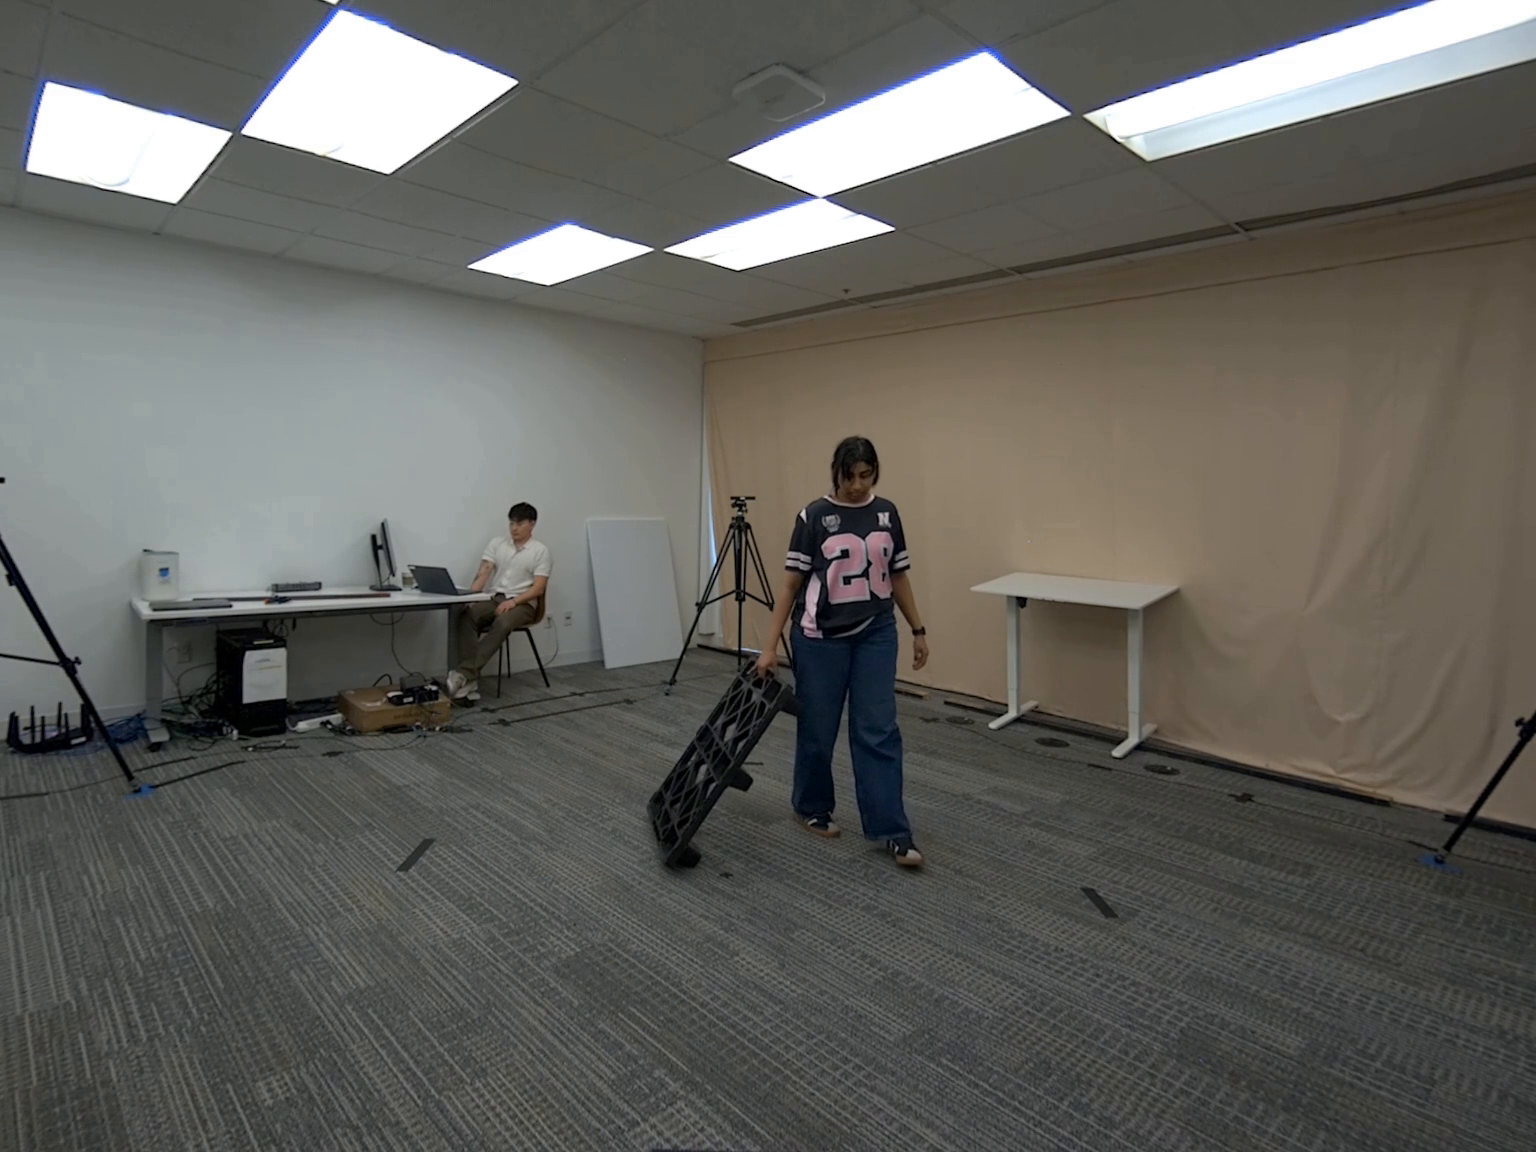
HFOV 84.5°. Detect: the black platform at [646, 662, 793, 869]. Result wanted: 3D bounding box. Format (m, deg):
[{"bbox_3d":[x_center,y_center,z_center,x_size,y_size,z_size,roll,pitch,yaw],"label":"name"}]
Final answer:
[{"bbox_3d":[-0.186,0.742,3.394,0.141,0.806,0.613,35,-3,-14],"label":"black platform"}]
